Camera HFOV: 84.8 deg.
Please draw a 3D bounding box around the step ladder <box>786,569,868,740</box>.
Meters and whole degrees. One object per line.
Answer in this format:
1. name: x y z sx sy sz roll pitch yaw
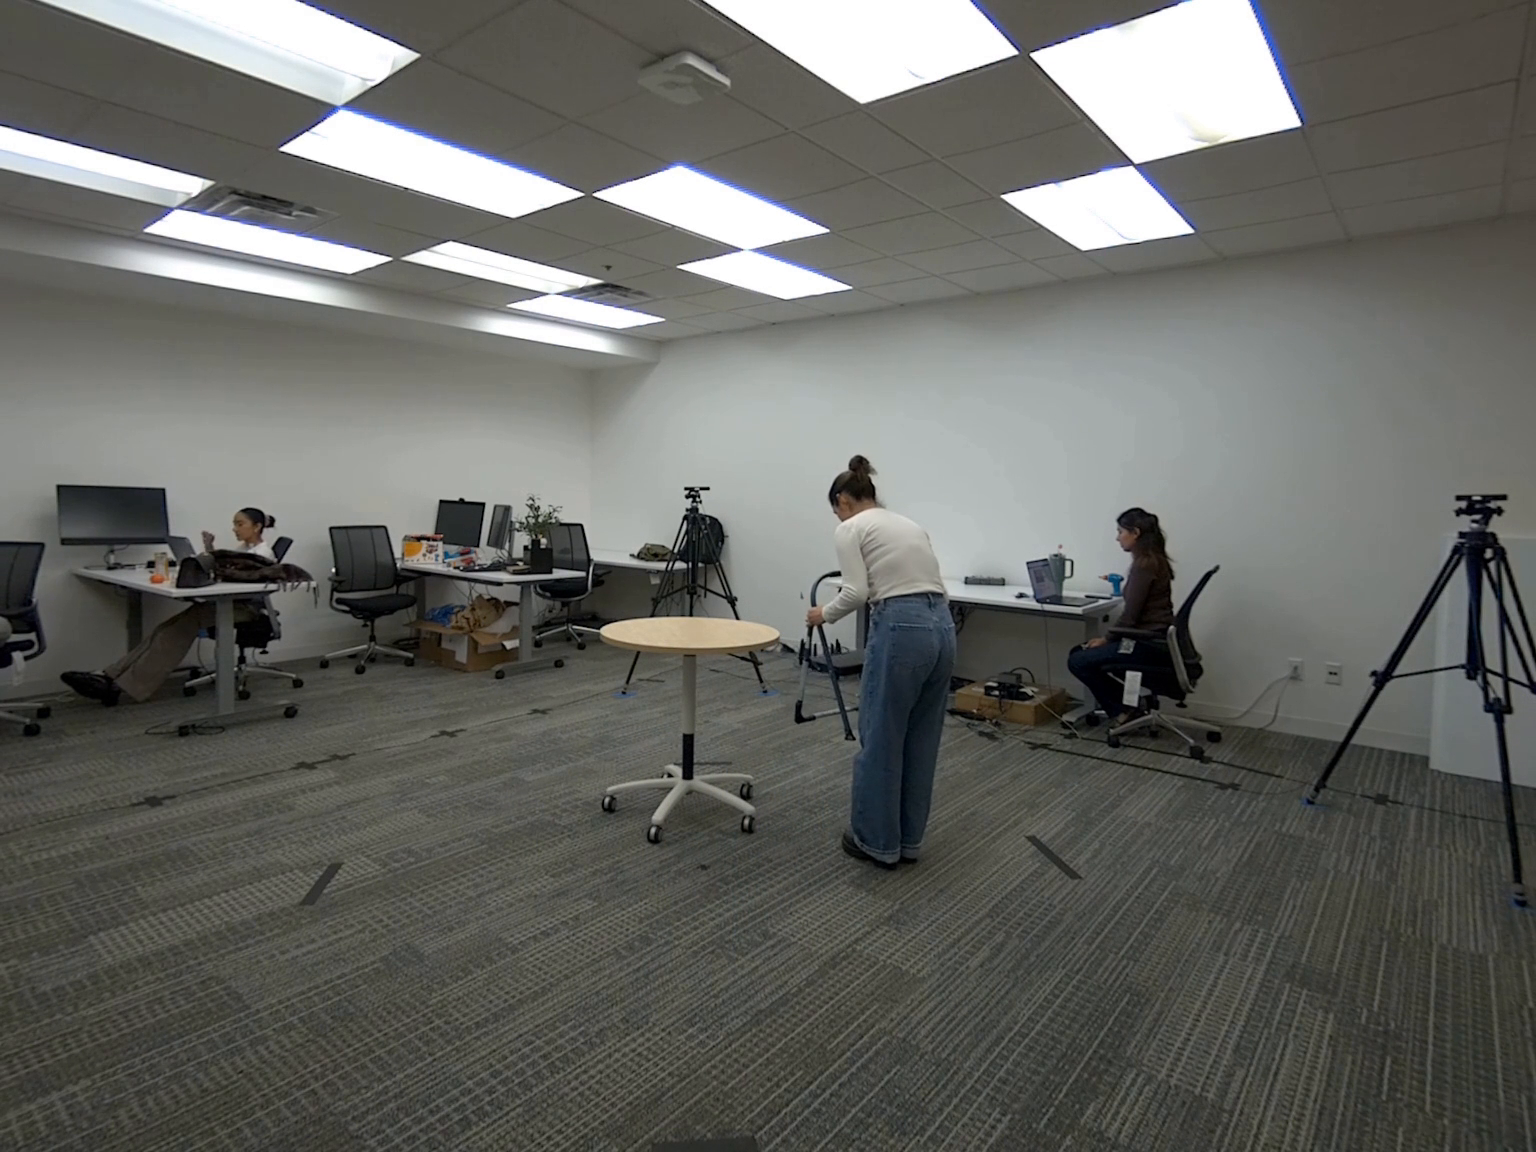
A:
1. step ladder: 0.361 0.283 3.394 0.418 0.605 0.360 -3 2 -36
